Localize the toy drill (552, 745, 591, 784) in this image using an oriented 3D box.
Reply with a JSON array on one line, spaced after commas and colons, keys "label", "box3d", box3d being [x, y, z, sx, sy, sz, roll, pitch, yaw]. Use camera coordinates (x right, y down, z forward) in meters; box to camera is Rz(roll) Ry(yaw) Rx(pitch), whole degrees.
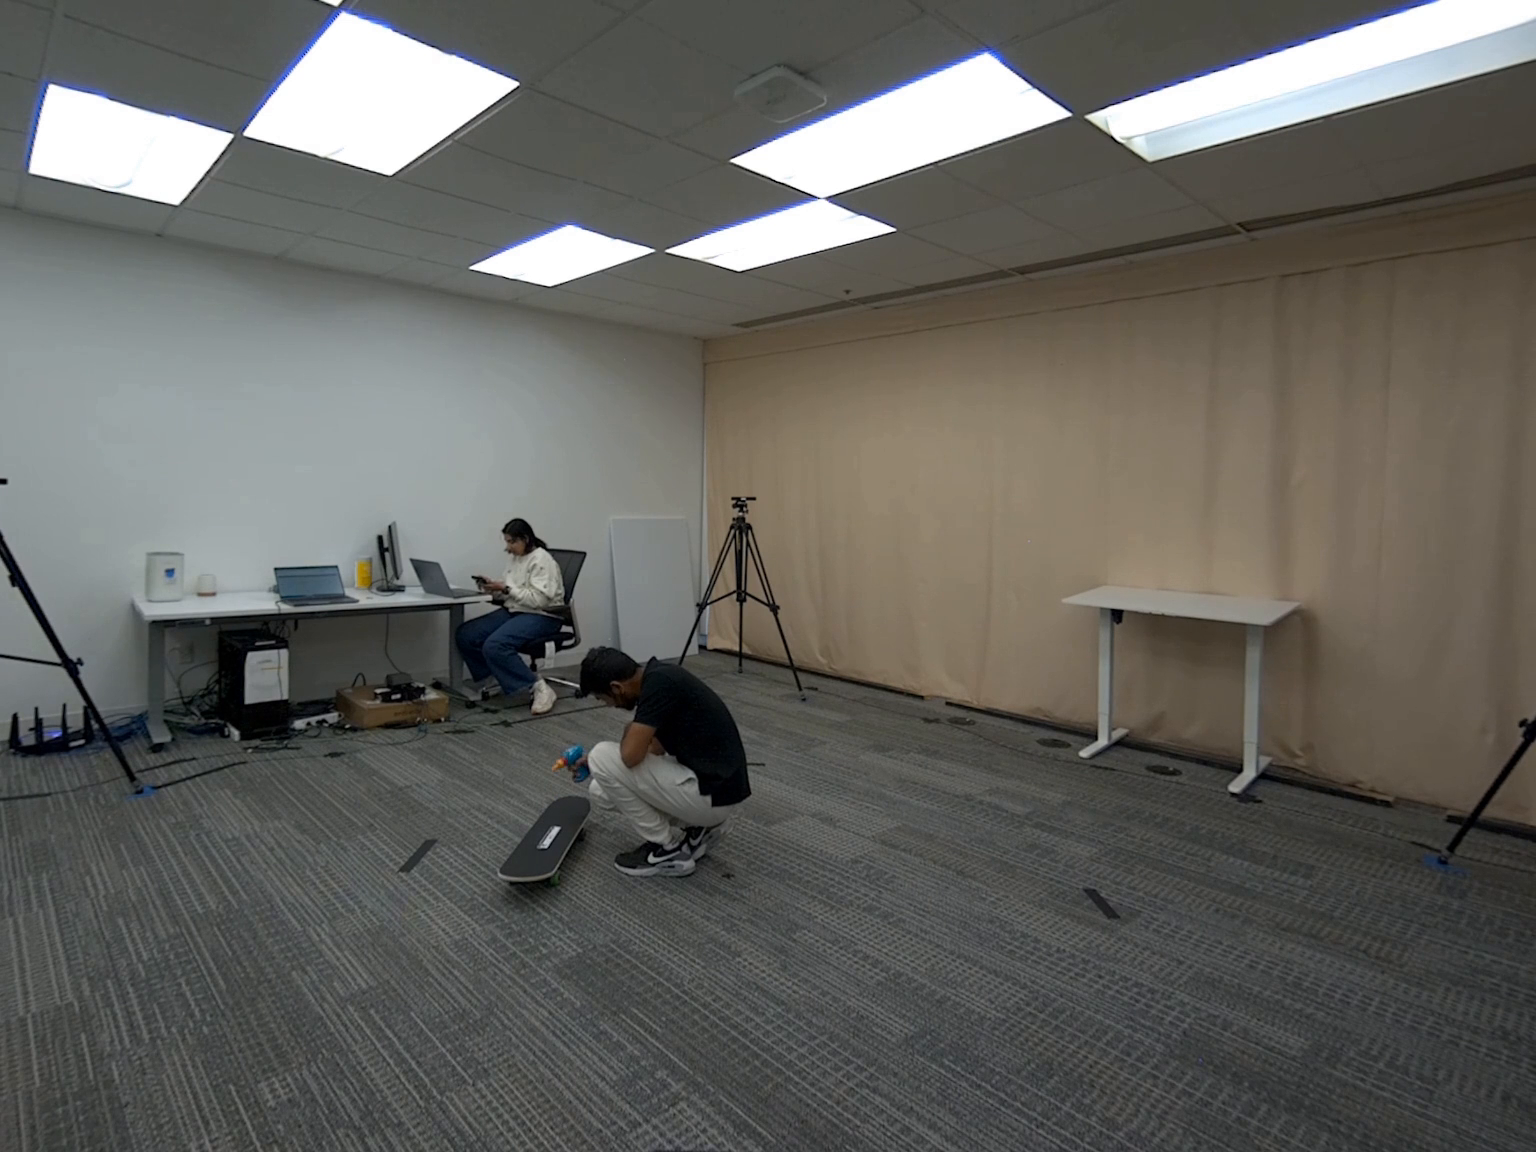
[{"label": "toy drill", "box3d": [-0.803, 0.778, 3.422, 0.062, 0.144, 0.168, -10, 14, 39]}]
